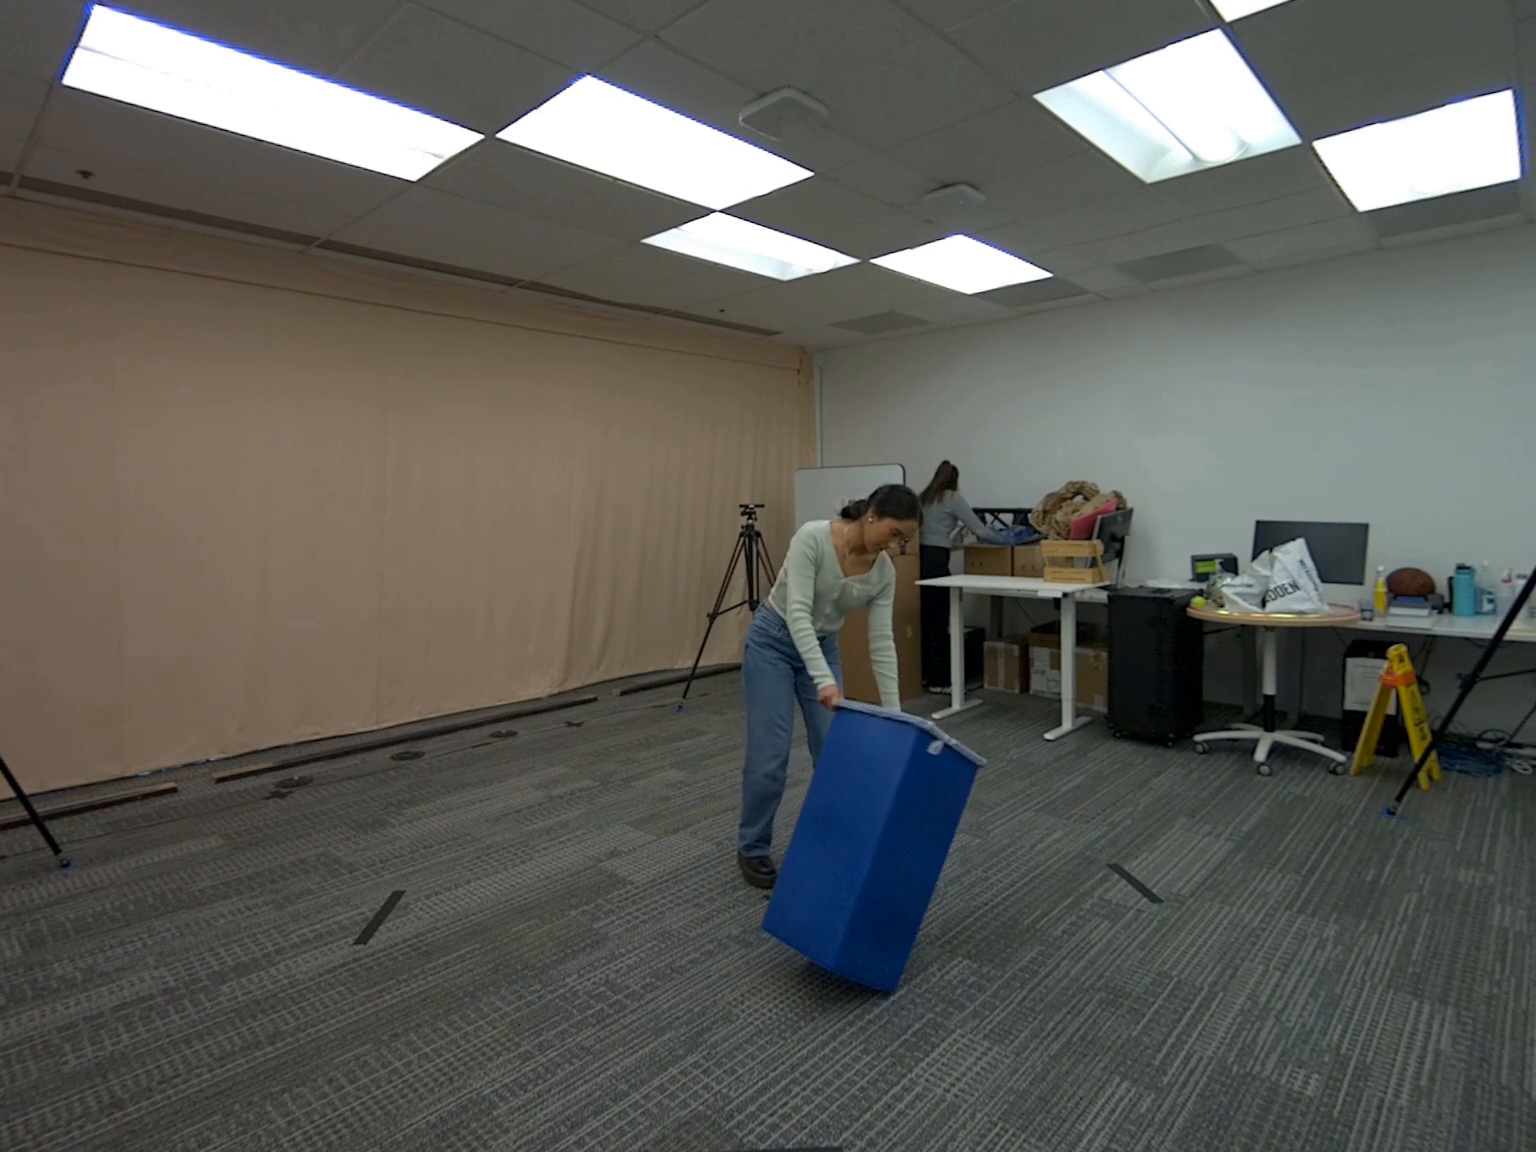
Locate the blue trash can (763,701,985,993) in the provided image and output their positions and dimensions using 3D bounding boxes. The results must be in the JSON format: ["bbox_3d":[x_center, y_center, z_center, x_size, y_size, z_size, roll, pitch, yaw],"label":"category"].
[{"bbox_3d":[0.295,0.780,2.535,0.365,0.715,0.386,35,-19,-33],"label":"blue trash can"}]
